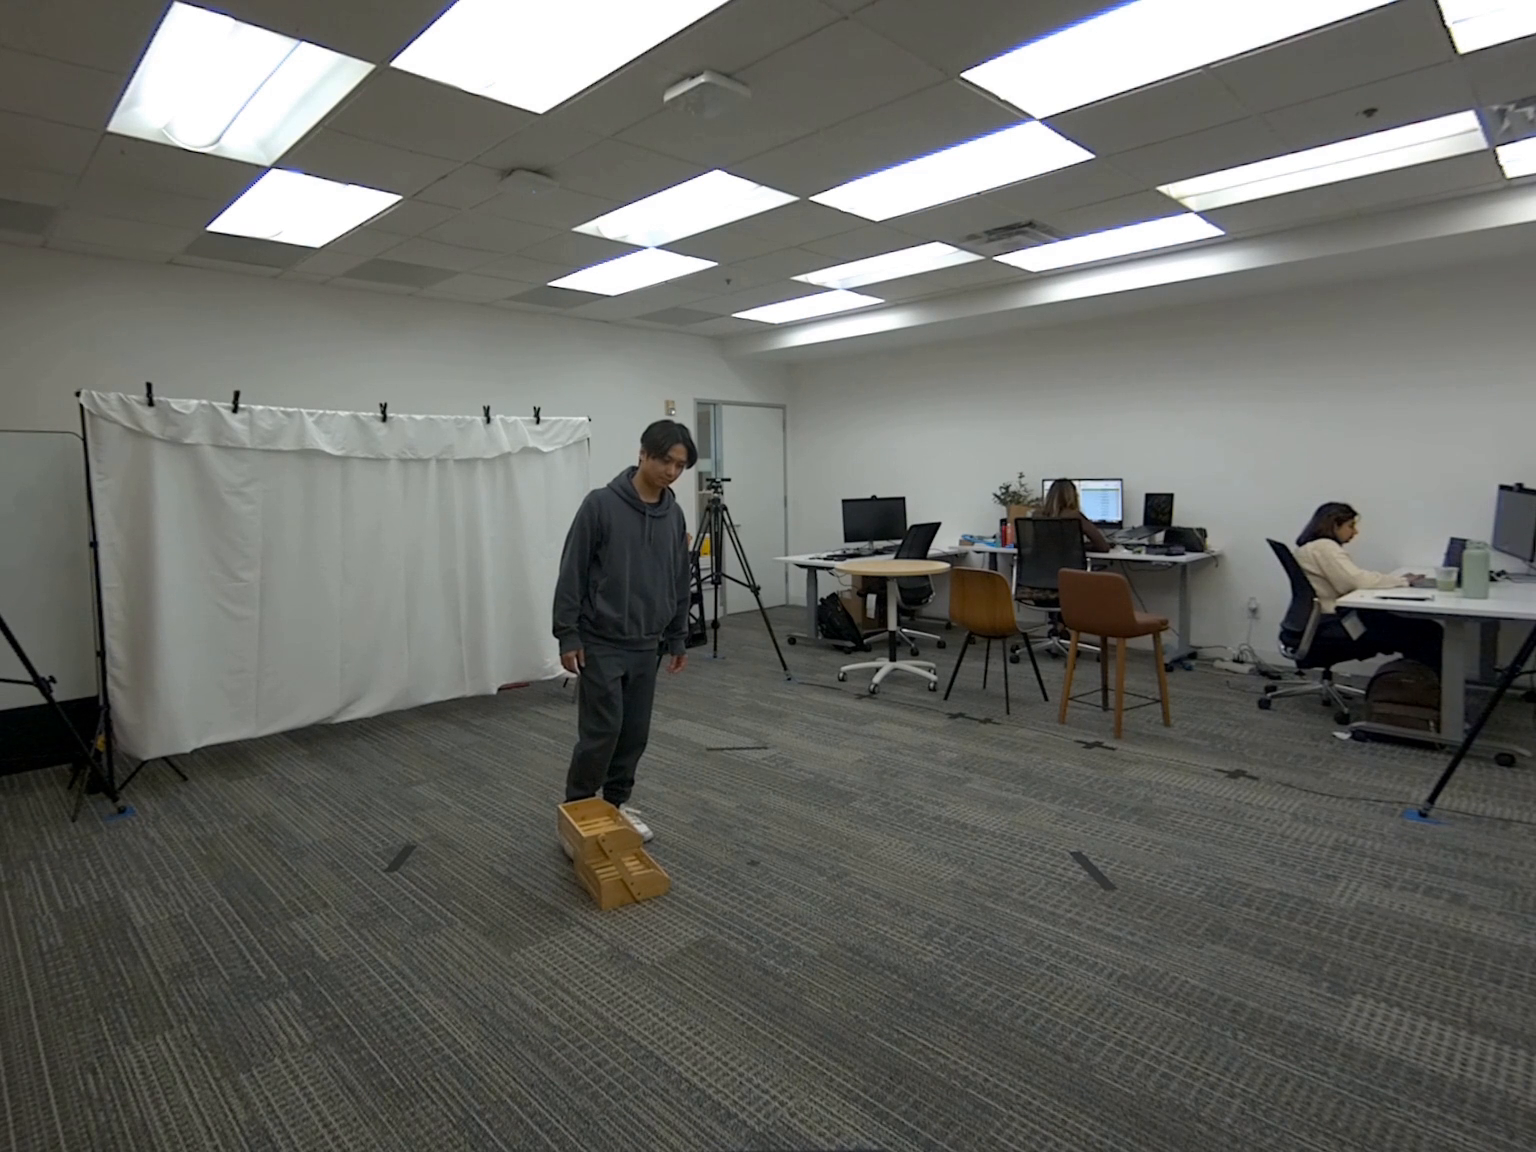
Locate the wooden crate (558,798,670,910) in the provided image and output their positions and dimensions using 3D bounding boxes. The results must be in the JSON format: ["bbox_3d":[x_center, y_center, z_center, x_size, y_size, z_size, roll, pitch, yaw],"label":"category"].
[{"bbox_3d":[-0.529,0.931,2.953,0.295,0.272,0.333,-5,7,-28],"label":"wooden crate"}]
